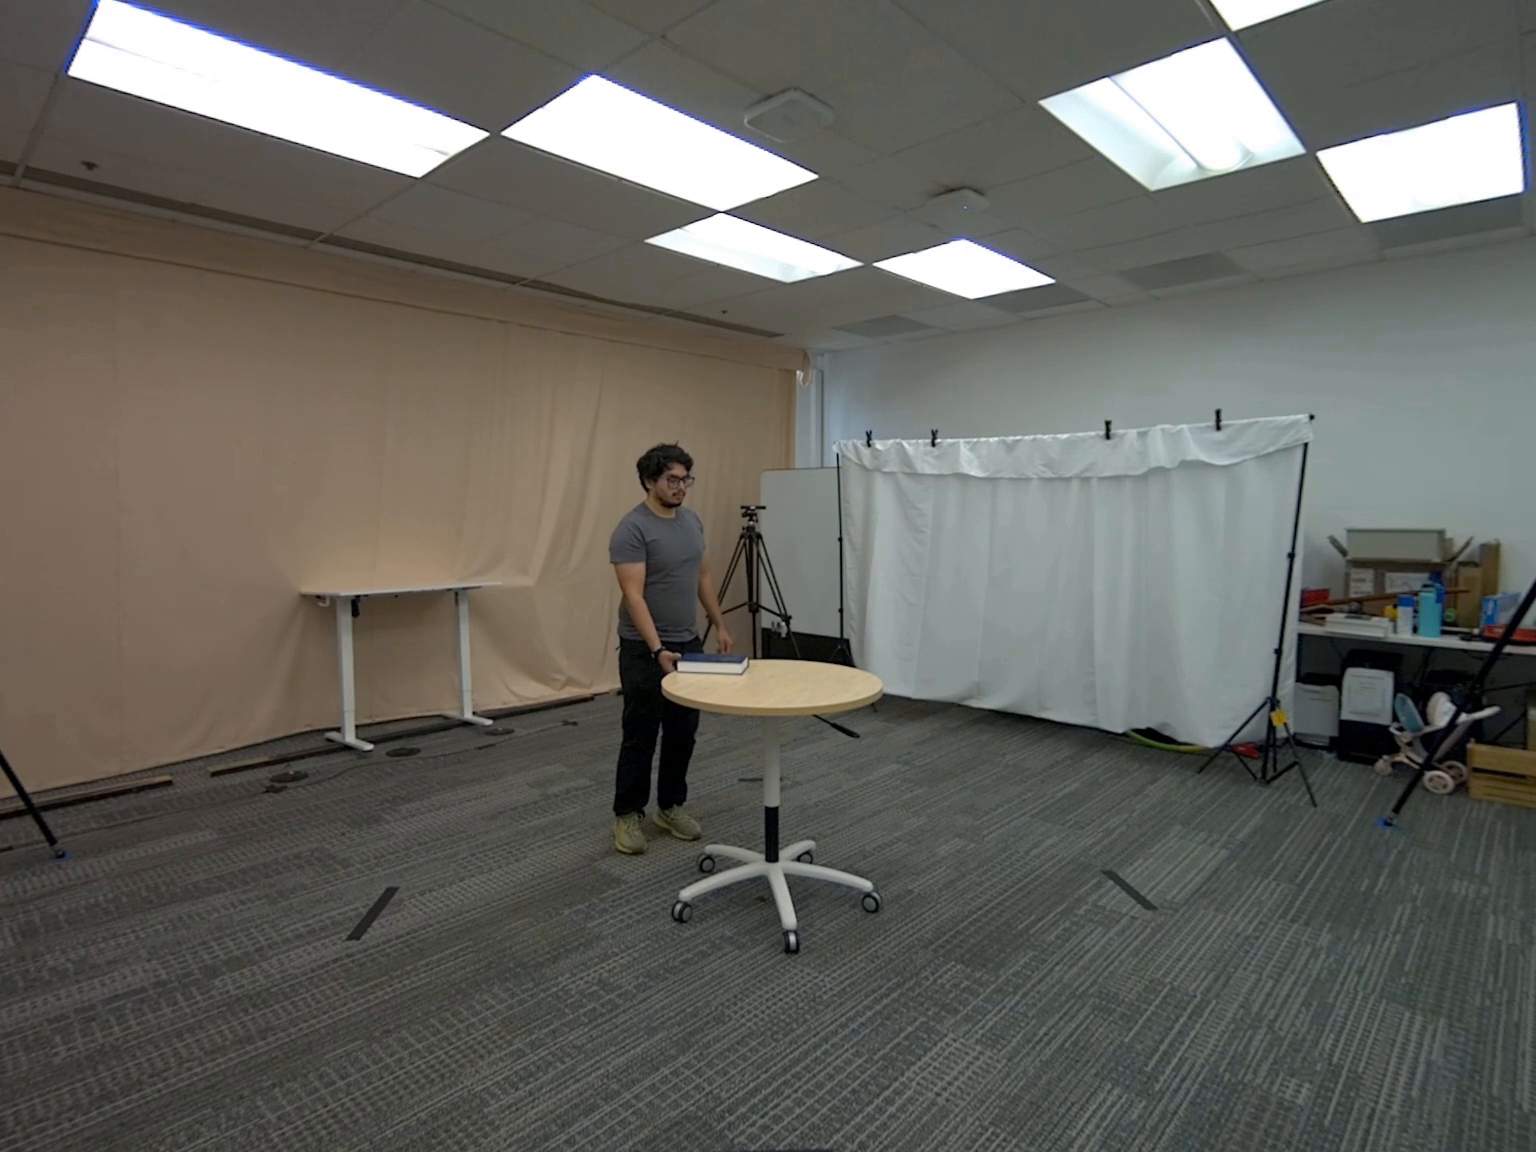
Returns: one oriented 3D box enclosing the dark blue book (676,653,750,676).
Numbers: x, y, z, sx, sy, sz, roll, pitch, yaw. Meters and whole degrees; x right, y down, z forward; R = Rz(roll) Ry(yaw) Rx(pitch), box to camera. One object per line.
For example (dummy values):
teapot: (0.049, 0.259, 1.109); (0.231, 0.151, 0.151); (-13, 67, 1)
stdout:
dark blue book: (-0.194, 0.327, 3.137); (0.248, 0.045, 0.162); (1, 6, 9)
